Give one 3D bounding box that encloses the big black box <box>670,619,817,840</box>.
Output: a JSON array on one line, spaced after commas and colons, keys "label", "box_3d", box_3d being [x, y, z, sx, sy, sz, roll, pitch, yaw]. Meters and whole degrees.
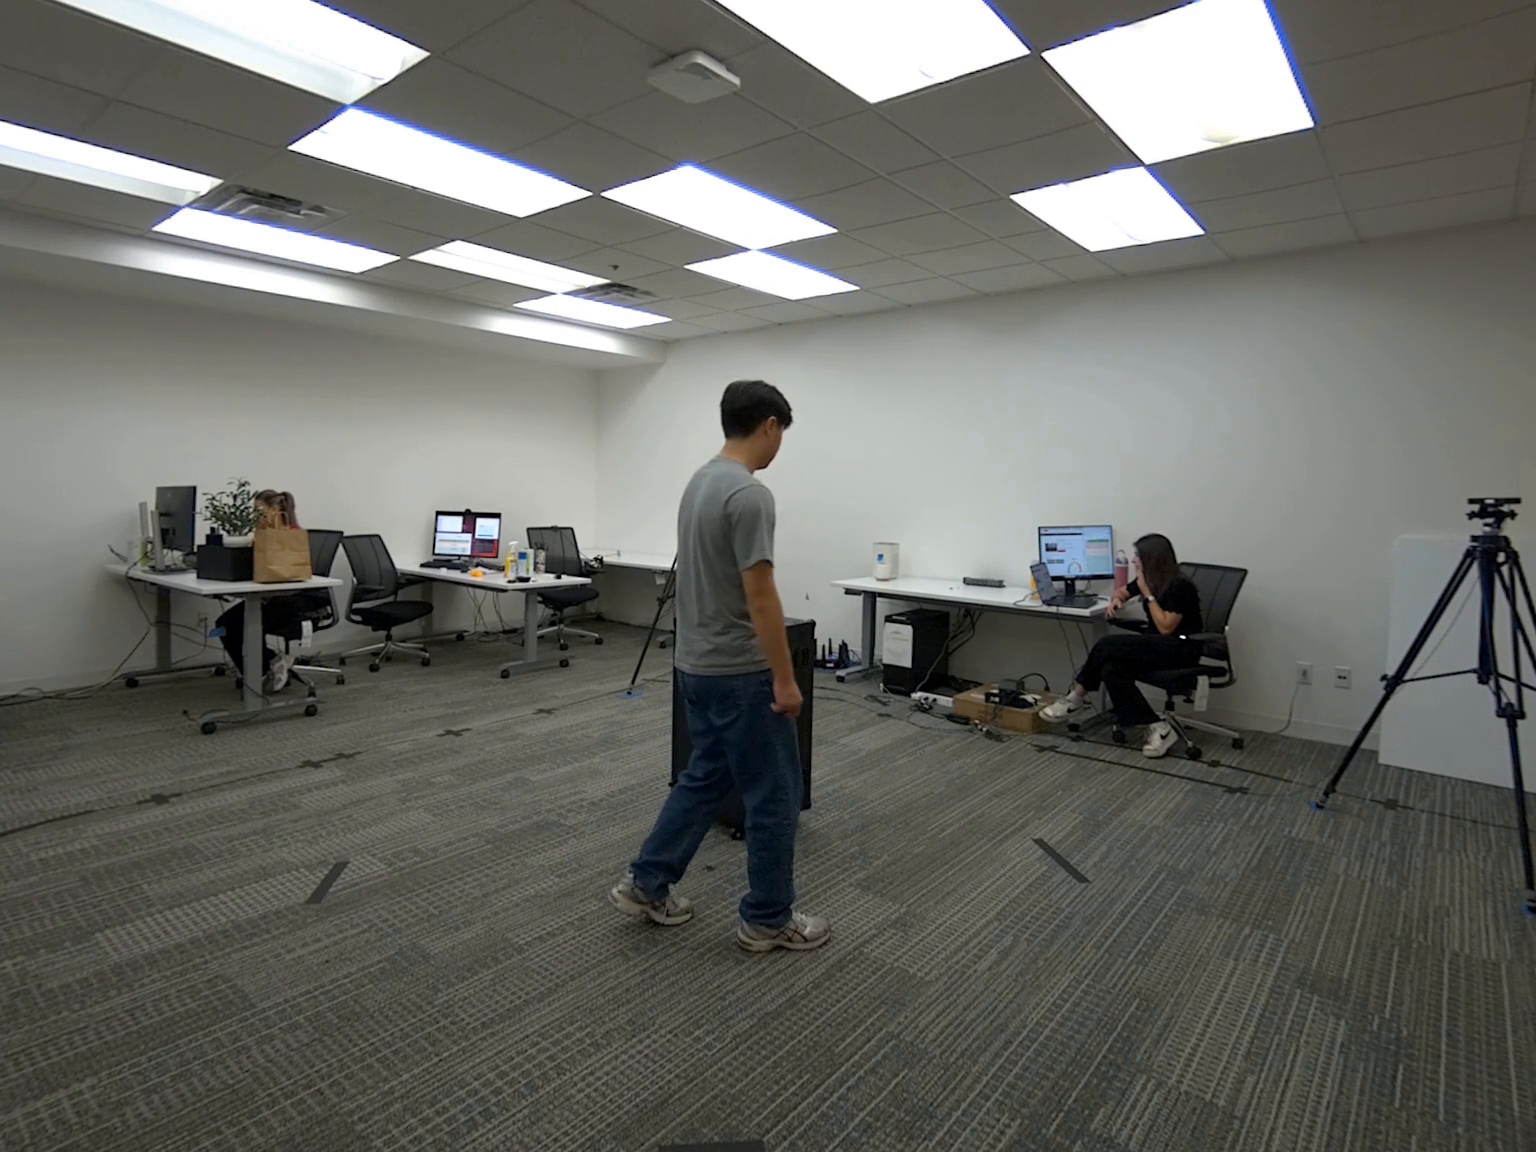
[{"label": "big black box", "box_3d": [-0.124, 0.595, 3.546, 0.539, 0.859, 0.384, 4, 5, 42]}]
